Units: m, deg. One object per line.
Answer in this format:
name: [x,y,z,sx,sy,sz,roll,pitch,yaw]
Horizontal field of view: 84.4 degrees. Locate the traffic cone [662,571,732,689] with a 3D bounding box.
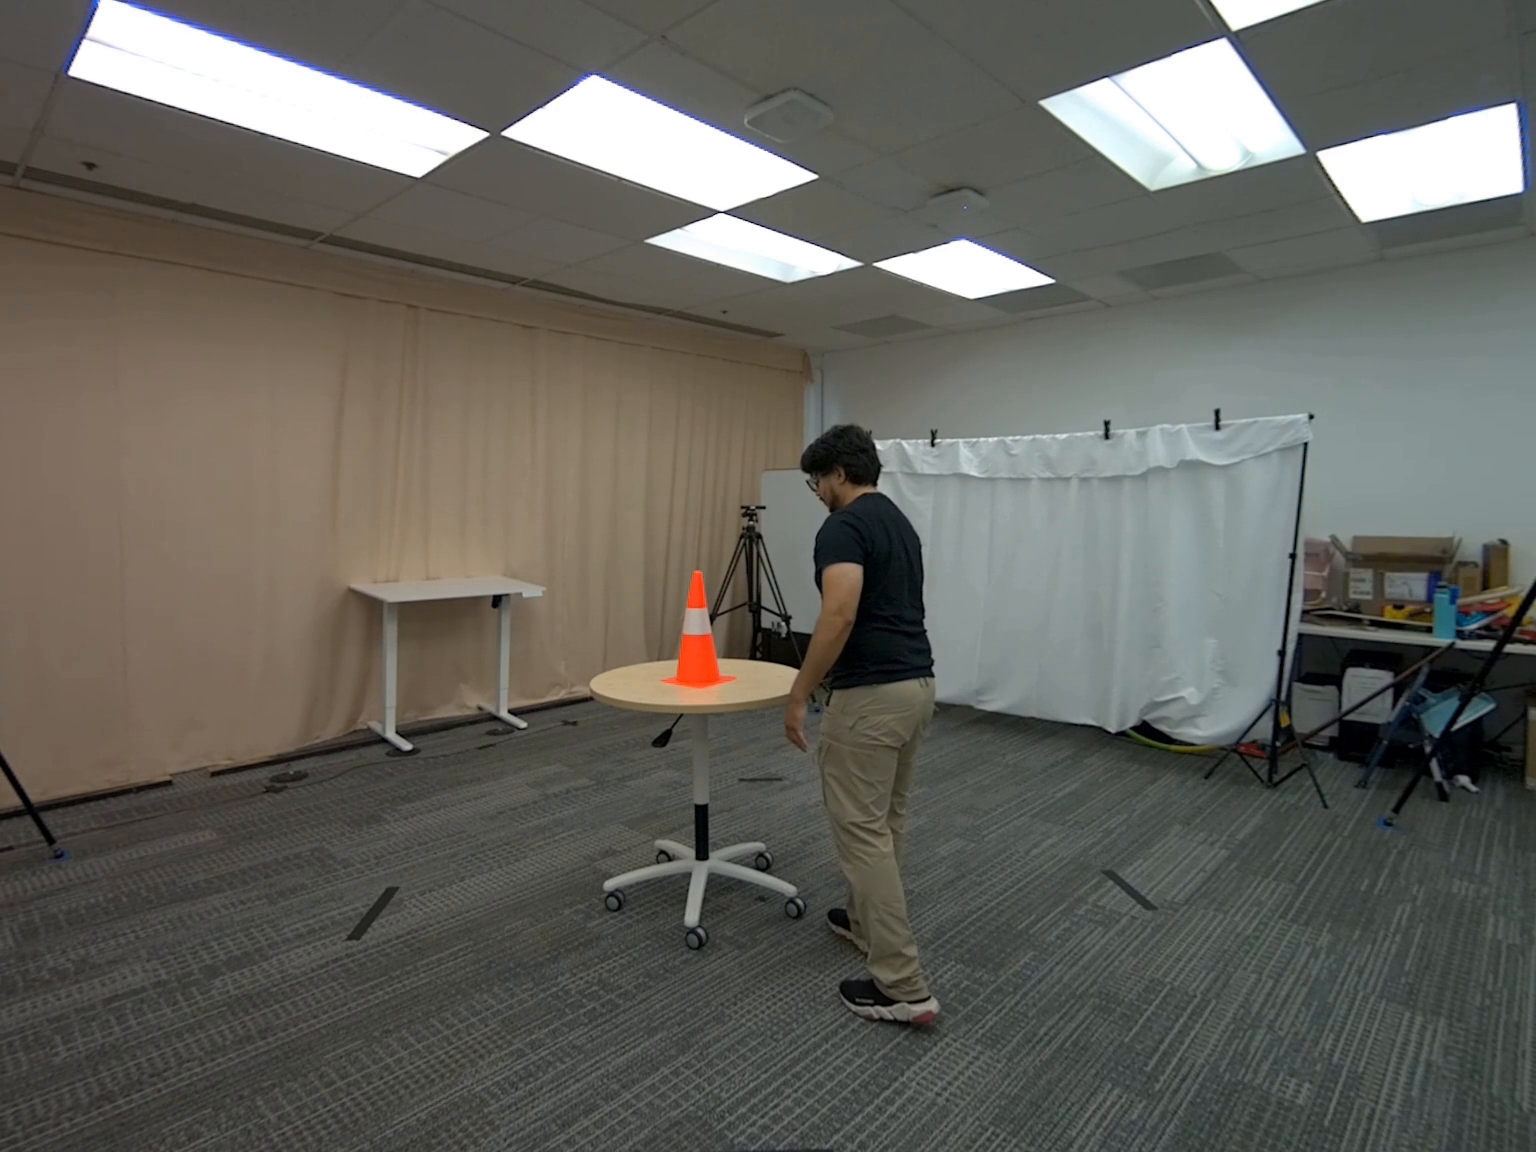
traffic cone: [-0.249,0.179,2.940,0.211,0.383,0.197,0,2,35]
